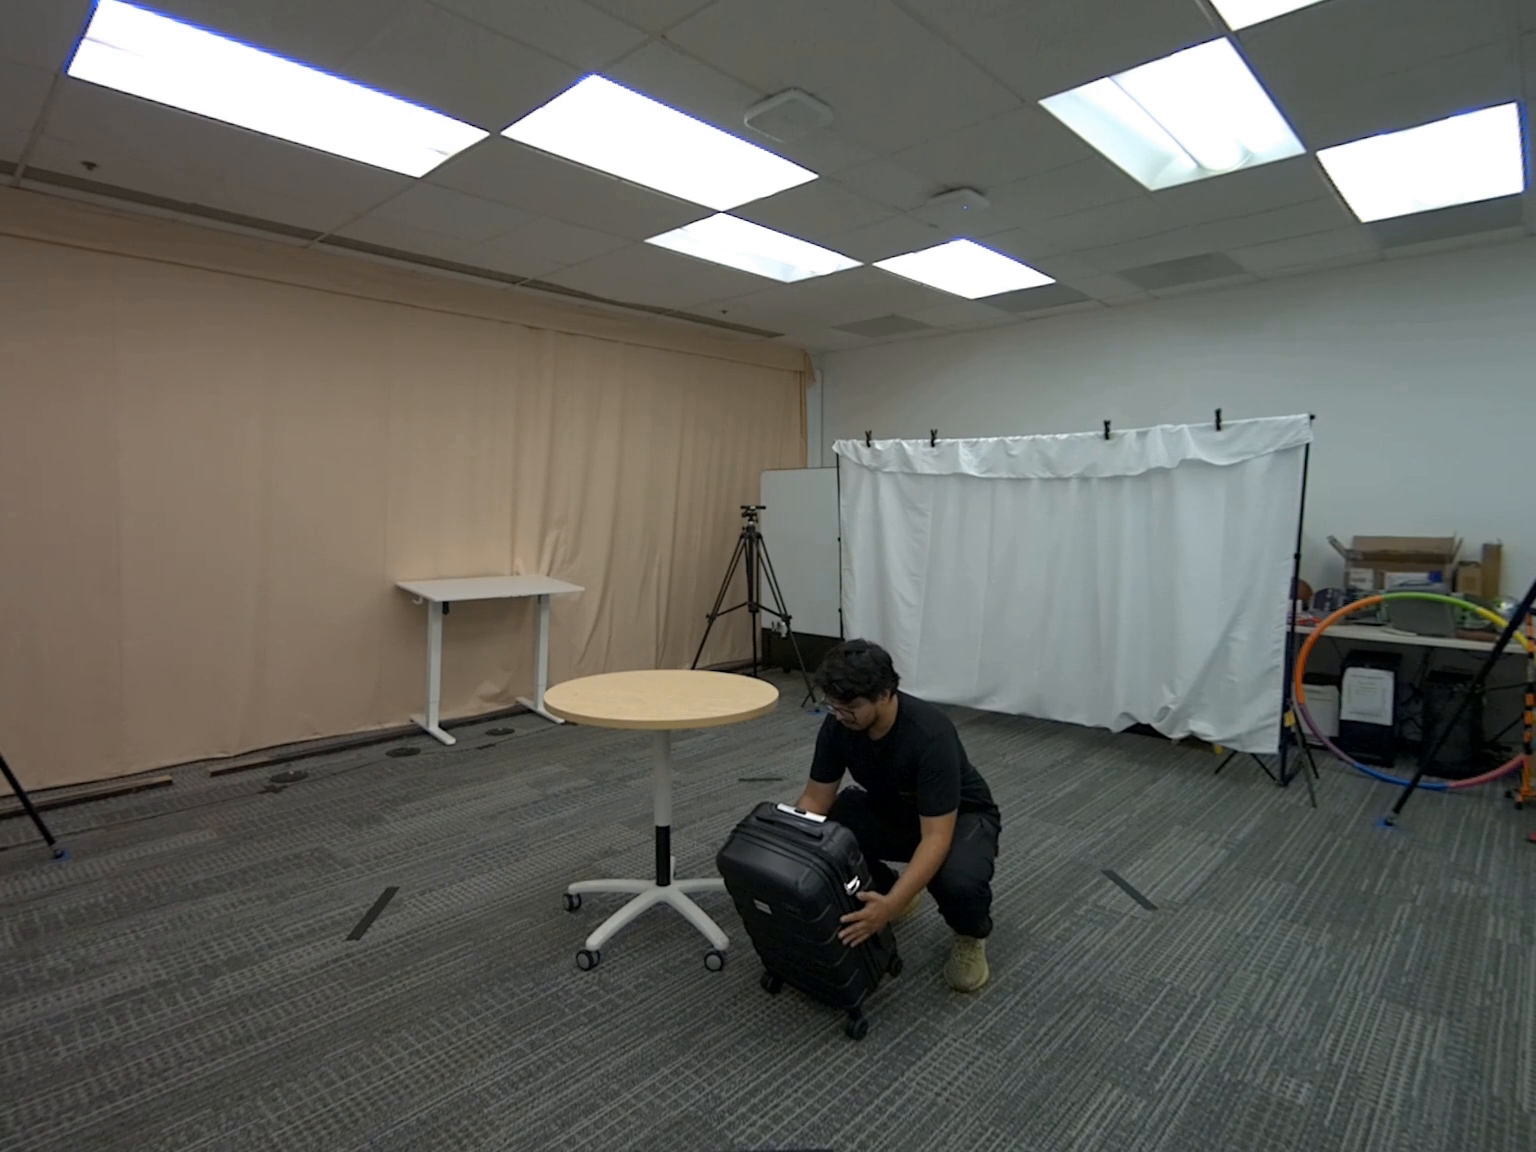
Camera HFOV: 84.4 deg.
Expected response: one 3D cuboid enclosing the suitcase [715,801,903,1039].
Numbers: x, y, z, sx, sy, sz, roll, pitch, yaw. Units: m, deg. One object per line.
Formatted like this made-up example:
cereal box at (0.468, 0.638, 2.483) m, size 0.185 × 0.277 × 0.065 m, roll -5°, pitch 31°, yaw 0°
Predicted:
suitcase at (0.109, 0.910, 2.273) m, size 0.388 × 0.539 × 0.245 m, roll 4°, pitch 31°, yaw 44°
